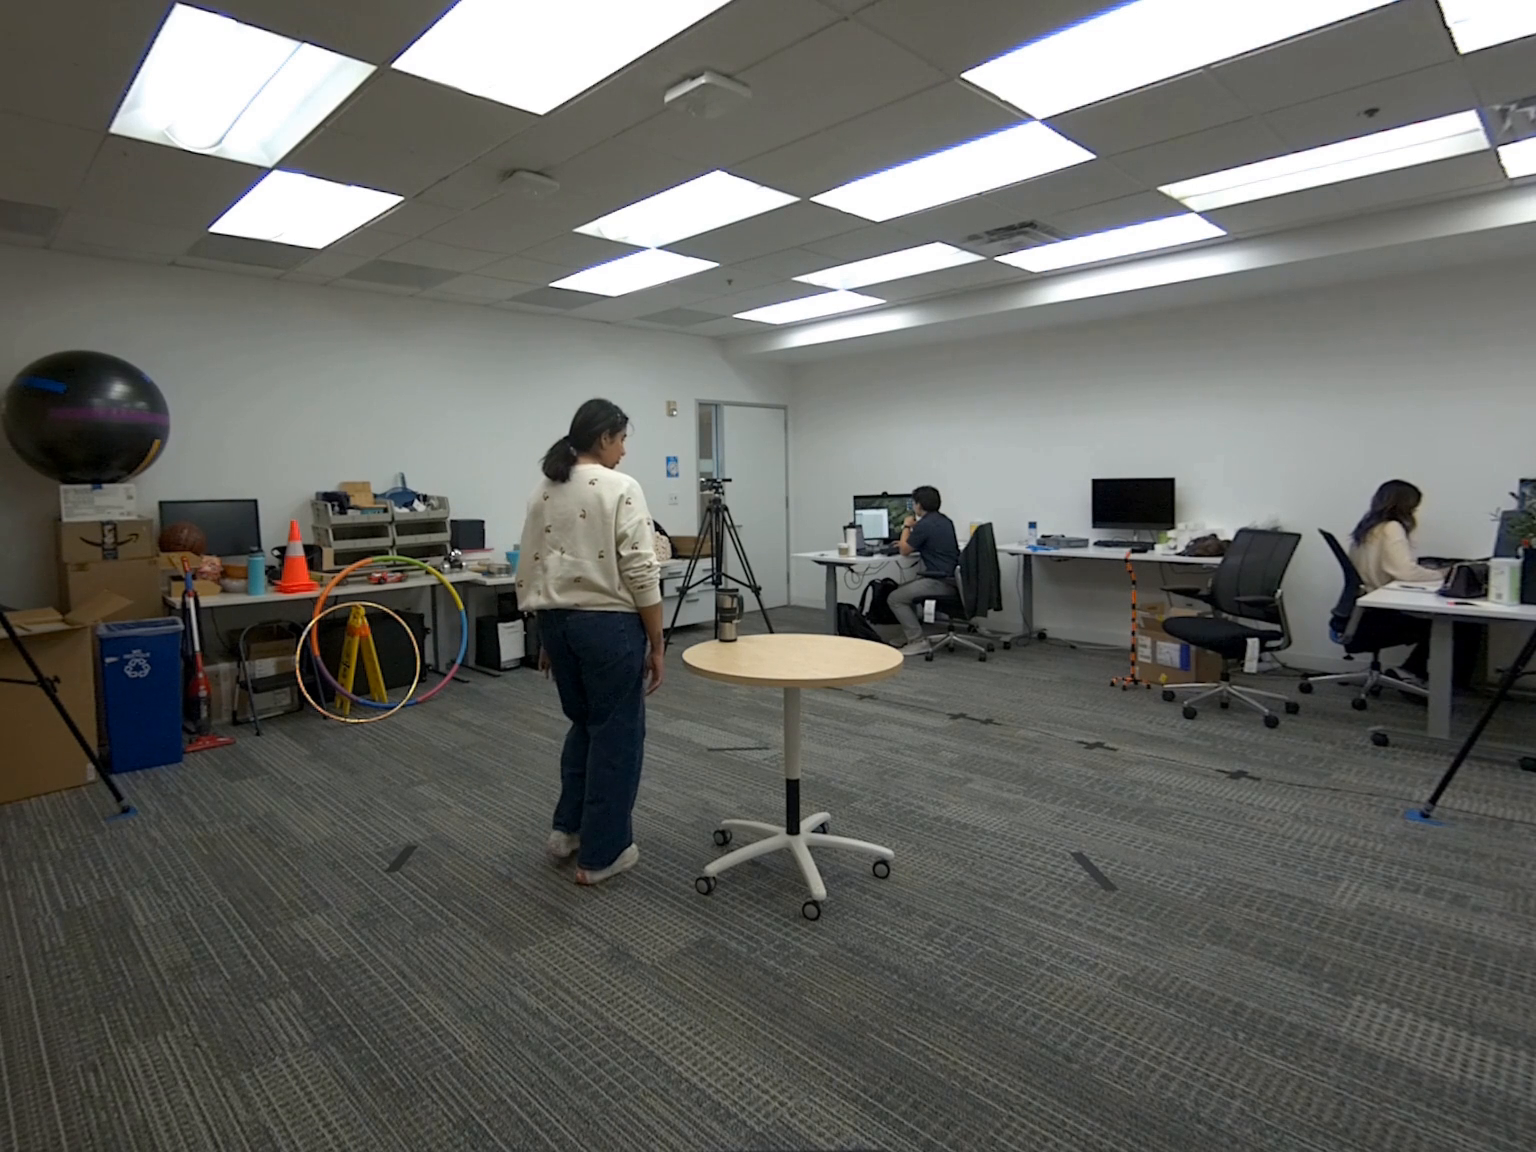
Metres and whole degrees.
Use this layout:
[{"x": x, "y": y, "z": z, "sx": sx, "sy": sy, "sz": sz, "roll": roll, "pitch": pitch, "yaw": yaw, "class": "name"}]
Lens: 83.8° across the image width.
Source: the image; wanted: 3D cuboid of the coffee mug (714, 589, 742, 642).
[{"x": -0.140, "y": 0.147, "z": 3.209, "sx": 0.086, "sy": 0.203, "sz": 0.125, "roll": 0, "pitch": 0, "yaw": -25, "class": "coffee mug"}]
